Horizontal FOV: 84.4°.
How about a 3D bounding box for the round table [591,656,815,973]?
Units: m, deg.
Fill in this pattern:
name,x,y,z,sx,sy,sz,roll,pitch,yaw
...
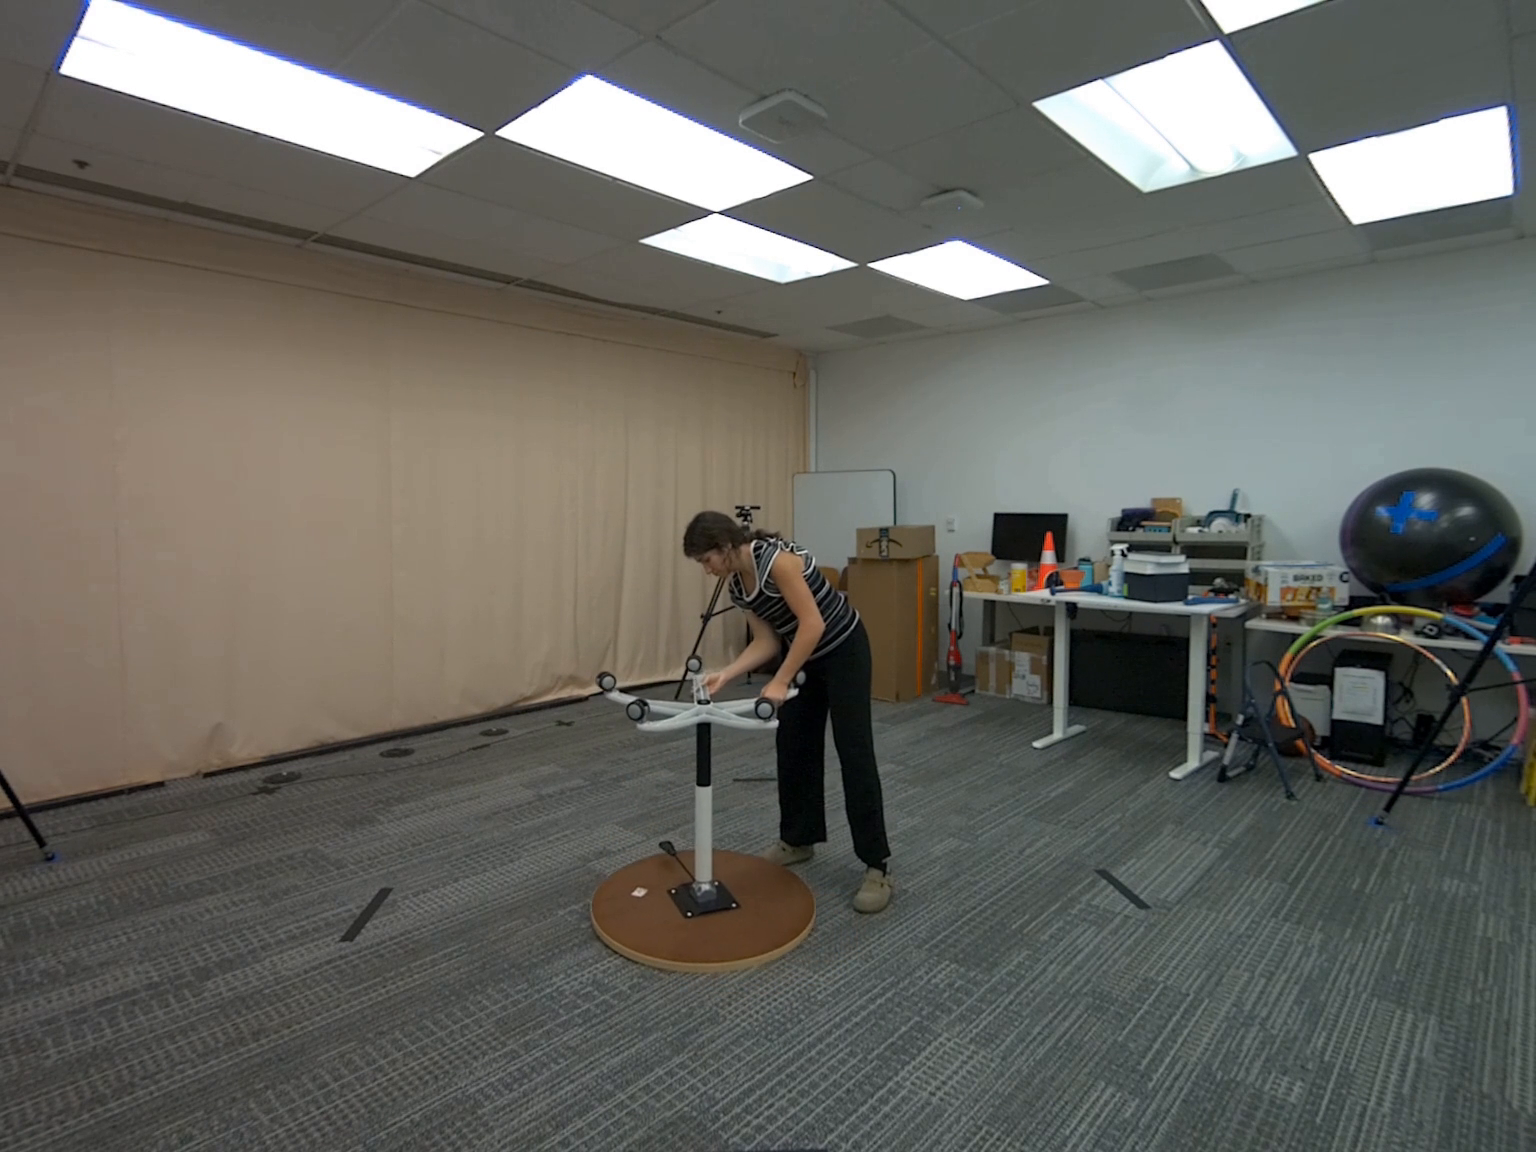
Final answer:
name,x,y,z,sx,sy,sz,roll,pitch,yaw
round table,-0.217,0.744,2.844,0.763,0.791,0.768,0,6,-2
